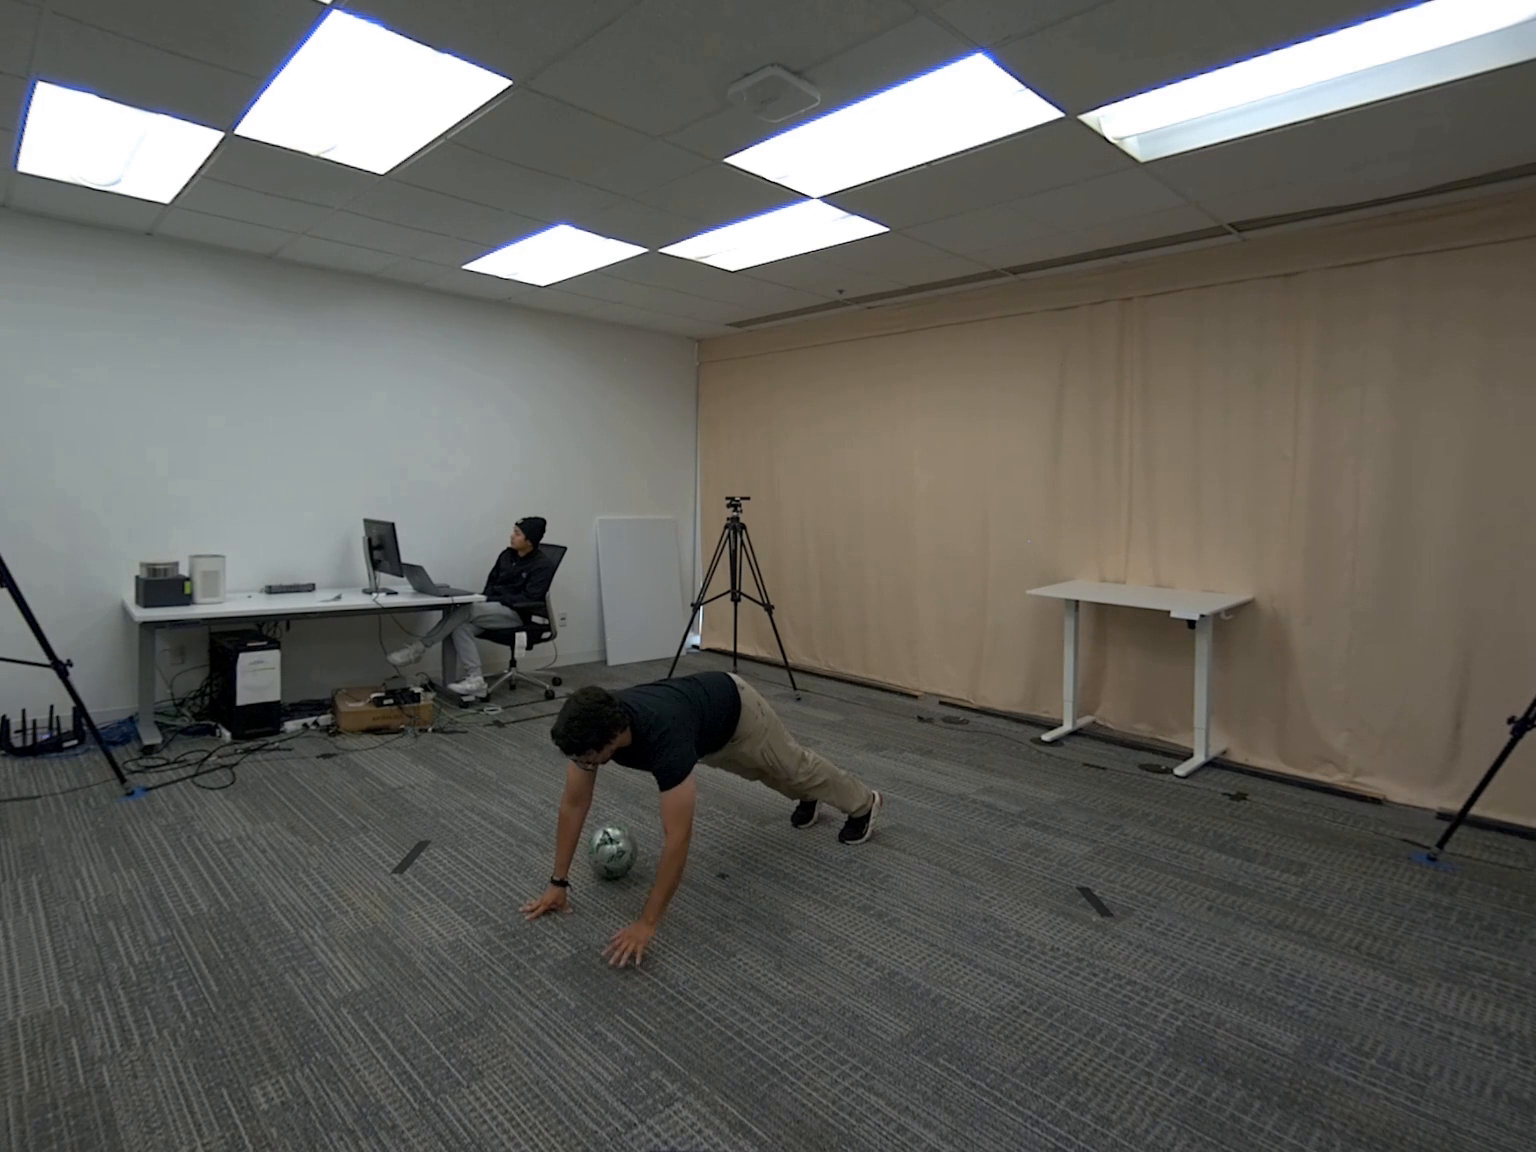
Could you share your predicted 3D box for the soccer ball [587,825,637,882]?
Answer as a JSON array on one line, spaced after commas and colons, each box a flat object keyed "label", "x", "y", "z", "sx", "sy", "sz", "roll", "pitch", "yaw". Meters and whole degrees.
[{"label": "soccer ball", "x": -0.578, "y": 1.009, "z": 3.080, "sx": 0.187, "sy": 0.187, "sz": 0.188, "roll": 1, "pitch": 4, "yaw": -1}]
